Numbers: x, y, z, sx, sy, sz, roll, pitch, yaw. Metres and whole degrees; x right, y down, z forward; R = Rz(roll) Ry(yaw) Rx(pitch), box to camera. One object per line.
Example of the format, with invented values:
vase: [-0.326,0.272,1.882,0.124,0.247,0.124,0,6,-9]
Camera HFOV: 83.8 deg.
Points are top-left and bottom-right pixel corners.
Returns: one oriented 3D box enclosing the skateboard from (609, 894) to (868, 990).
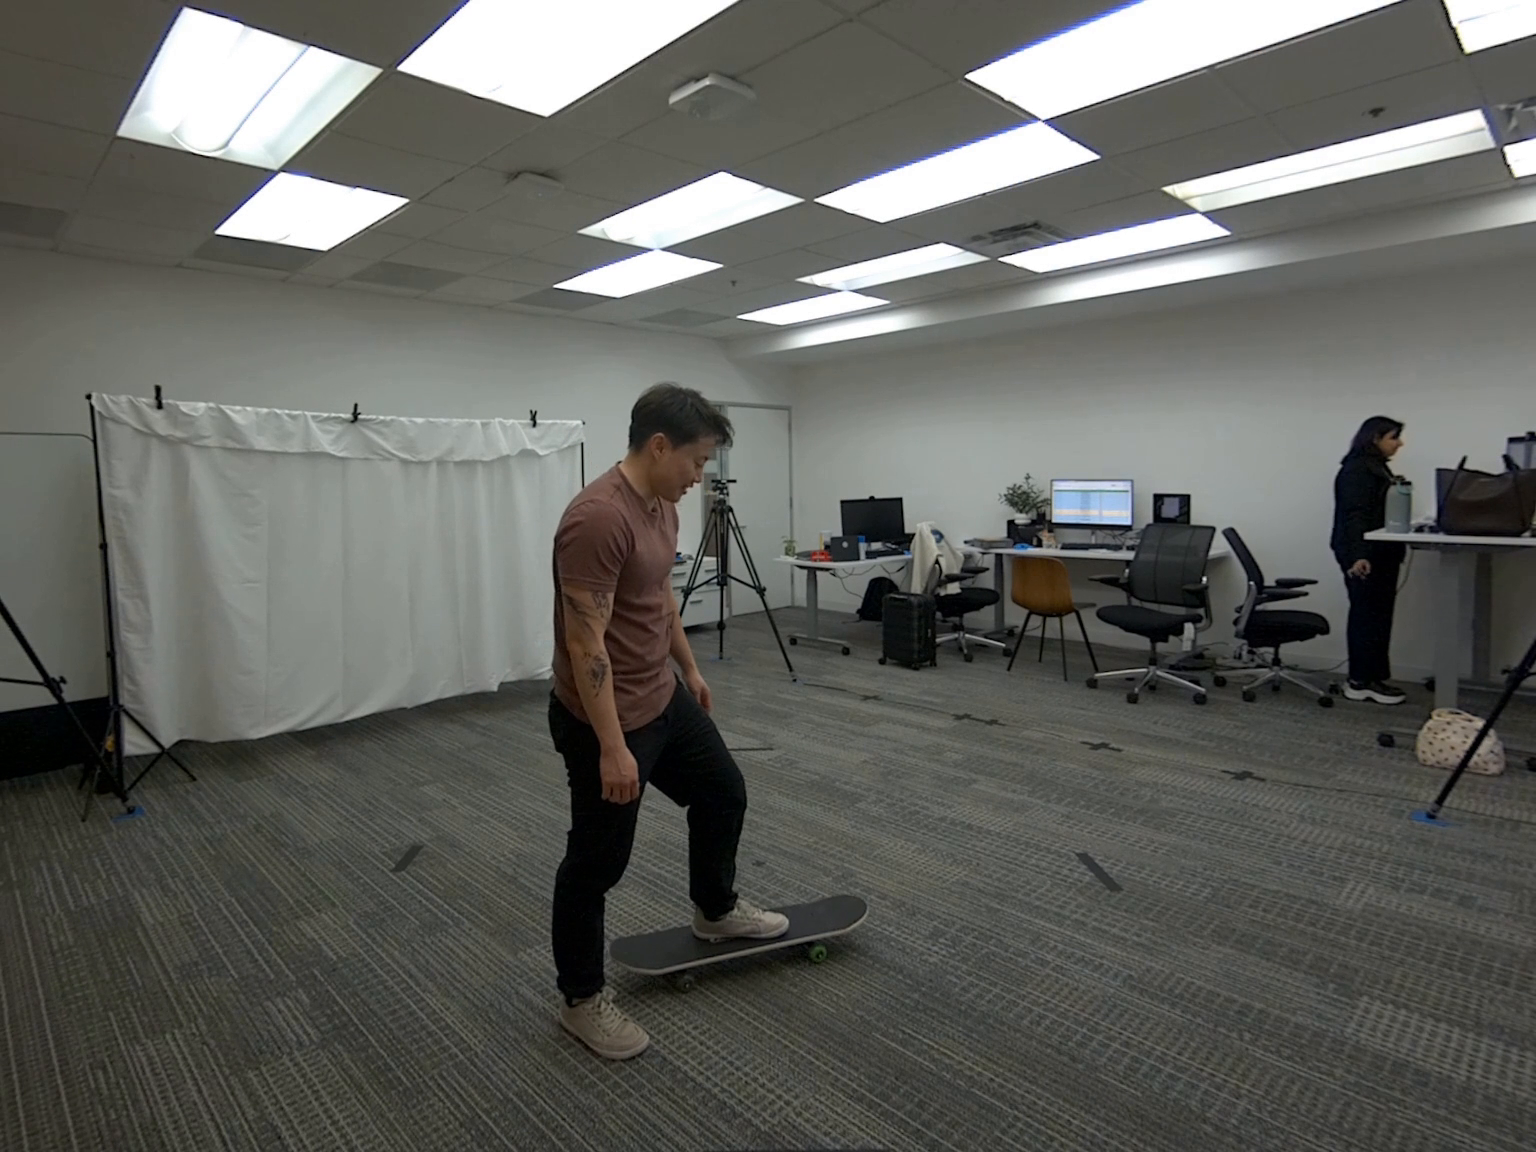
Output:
skateboard: [-0.068,1.061,2.480,0.773,0.110,0.197,-3,6,-18]
